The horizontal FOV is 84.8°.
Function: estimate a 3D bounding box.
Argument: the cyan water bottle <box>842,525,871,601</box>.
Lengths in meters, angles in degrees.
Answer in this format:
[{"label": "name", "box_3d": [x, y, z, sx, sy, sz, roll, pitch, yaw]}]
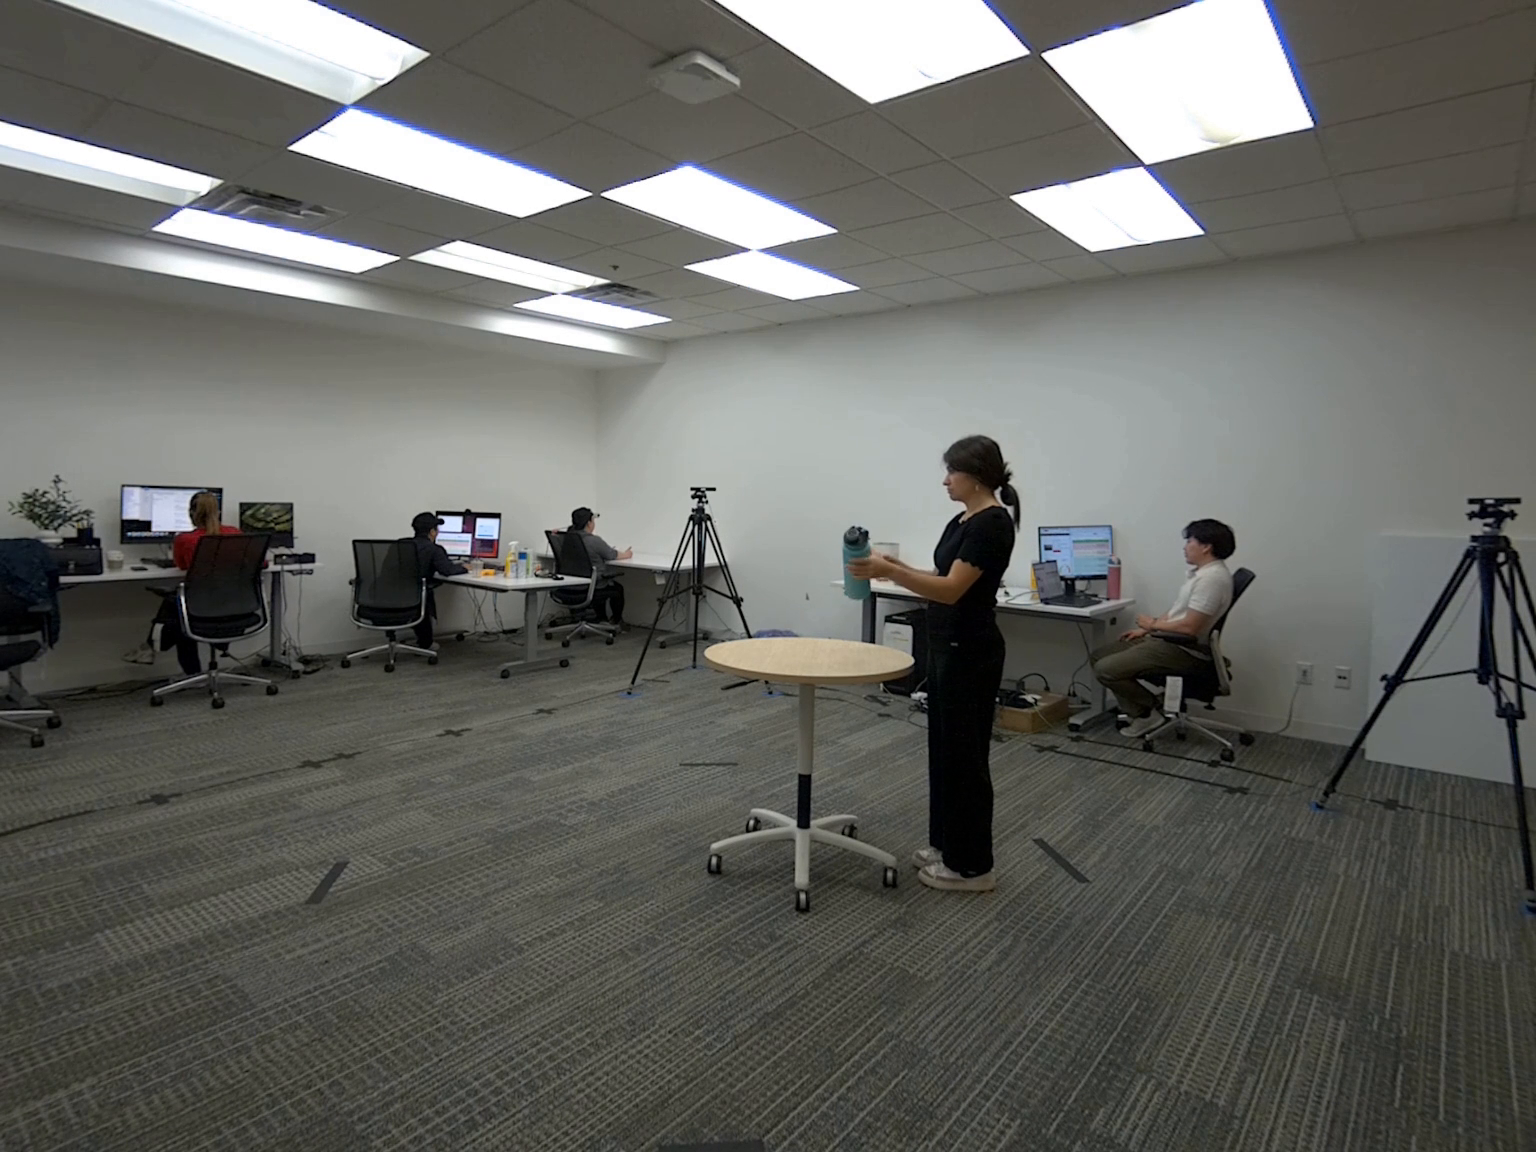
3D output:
[{"label": "cyan water bottle", "box_3d": [0.290, -0.050, 2.860, 0.093, 0.274, 0.095, -5, 39, 3]}]
